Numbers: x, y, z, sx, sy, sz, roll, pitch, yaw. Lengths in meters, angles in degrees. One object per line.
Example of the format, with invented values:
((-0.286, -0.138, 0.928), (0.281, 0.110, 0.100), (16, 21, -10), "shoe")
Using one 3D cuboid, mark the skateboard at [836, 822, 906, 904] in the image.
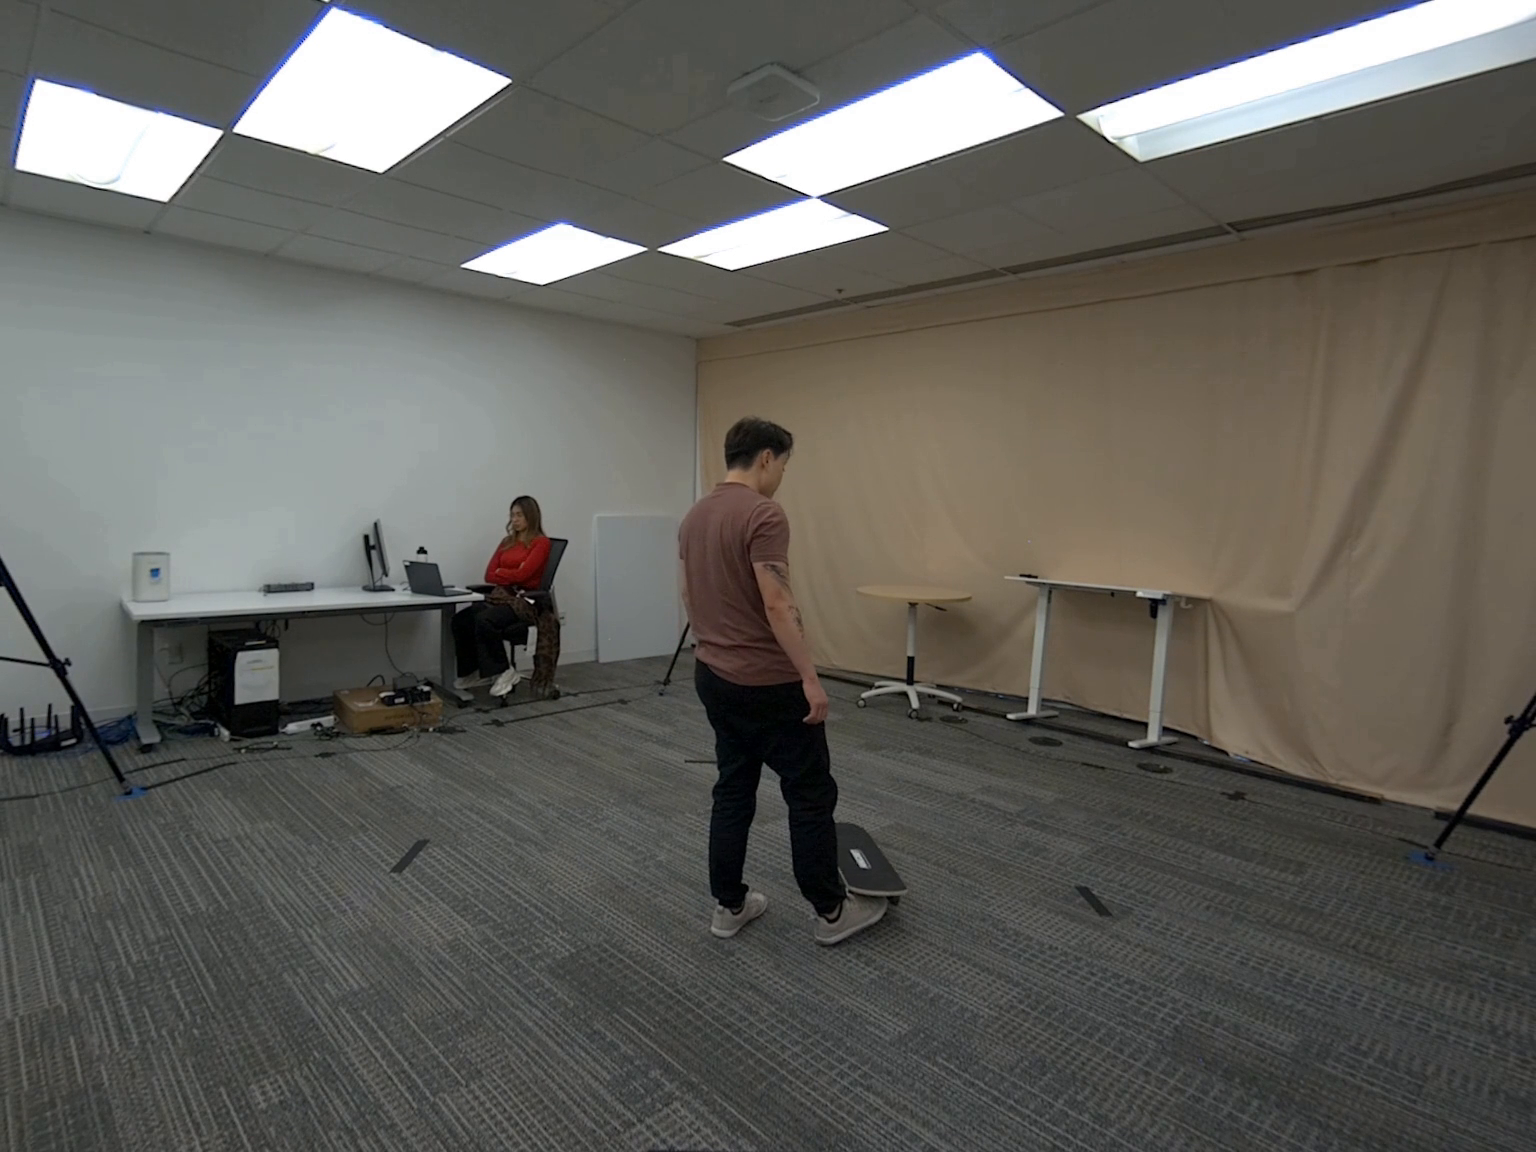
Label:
((0.324, 1.047, 3.014), (0.193, 0.110, 0.787), (1, 0, -5), "skateboard")
